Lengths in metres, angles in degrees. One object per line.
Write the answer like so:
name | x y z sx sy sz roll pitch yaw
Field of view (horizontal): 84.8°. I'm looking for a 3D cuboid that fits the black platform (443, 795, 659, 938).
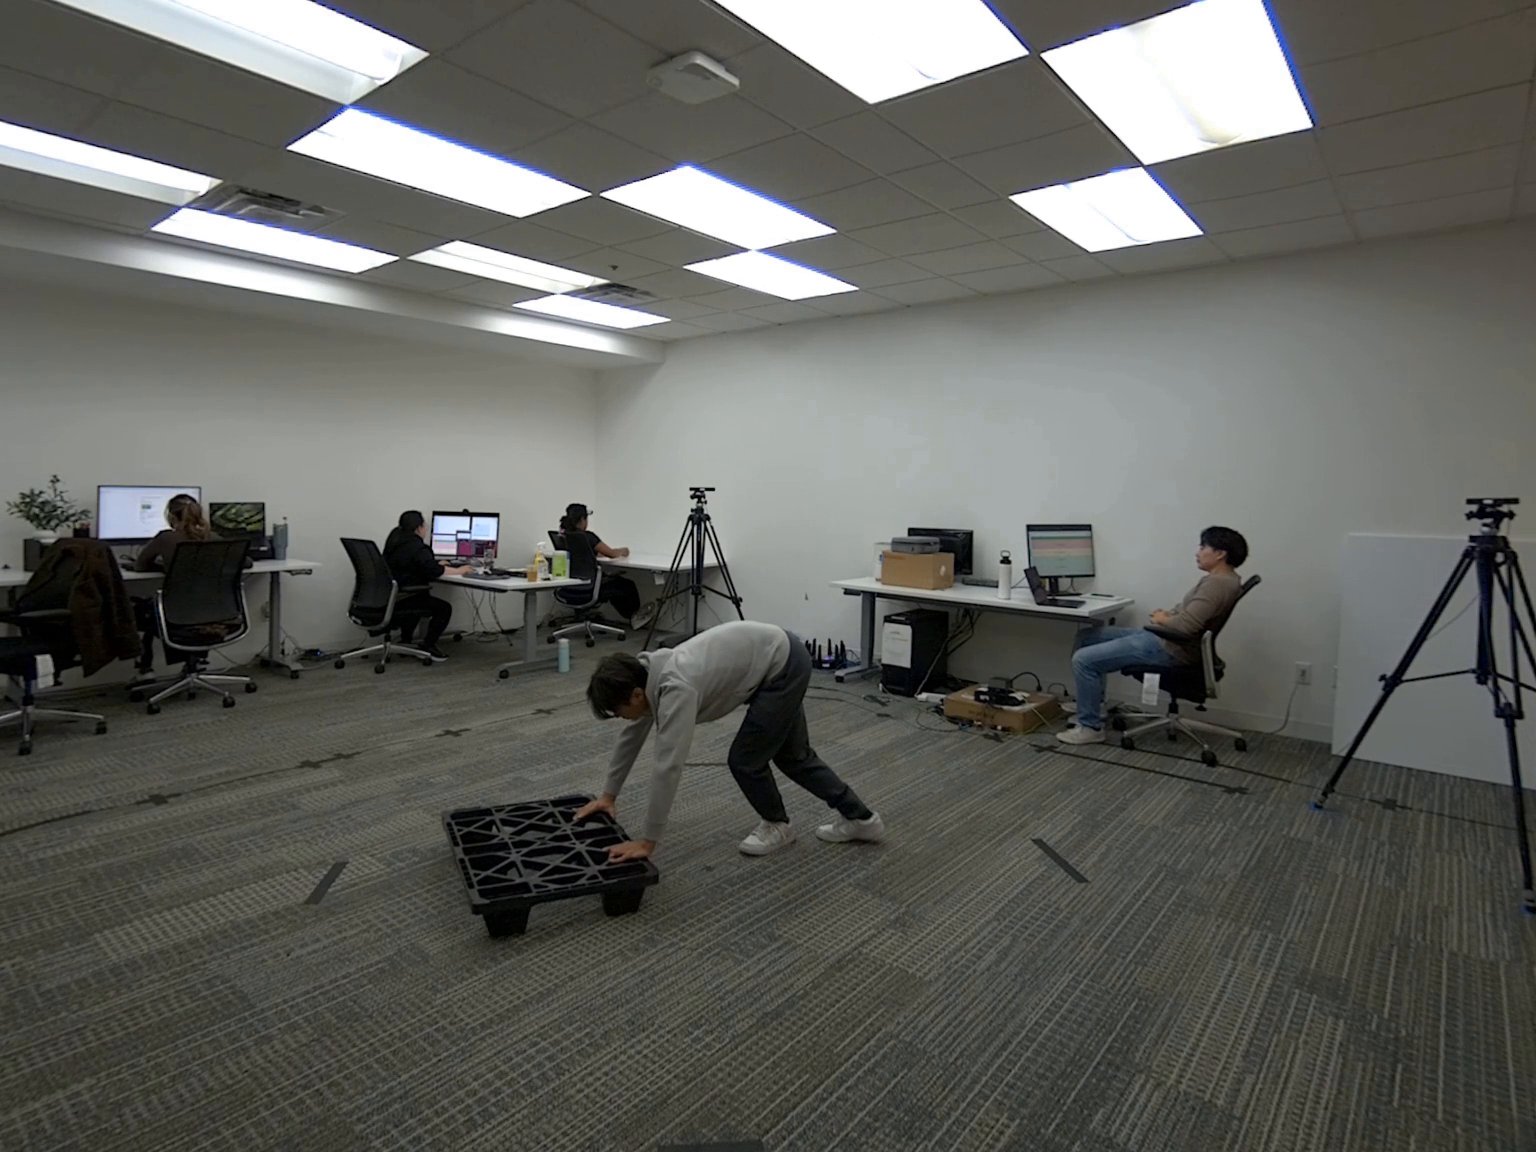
black platform | -0.811 0.996 3.011 0.591 0.143 0.828 -2 6 -26
